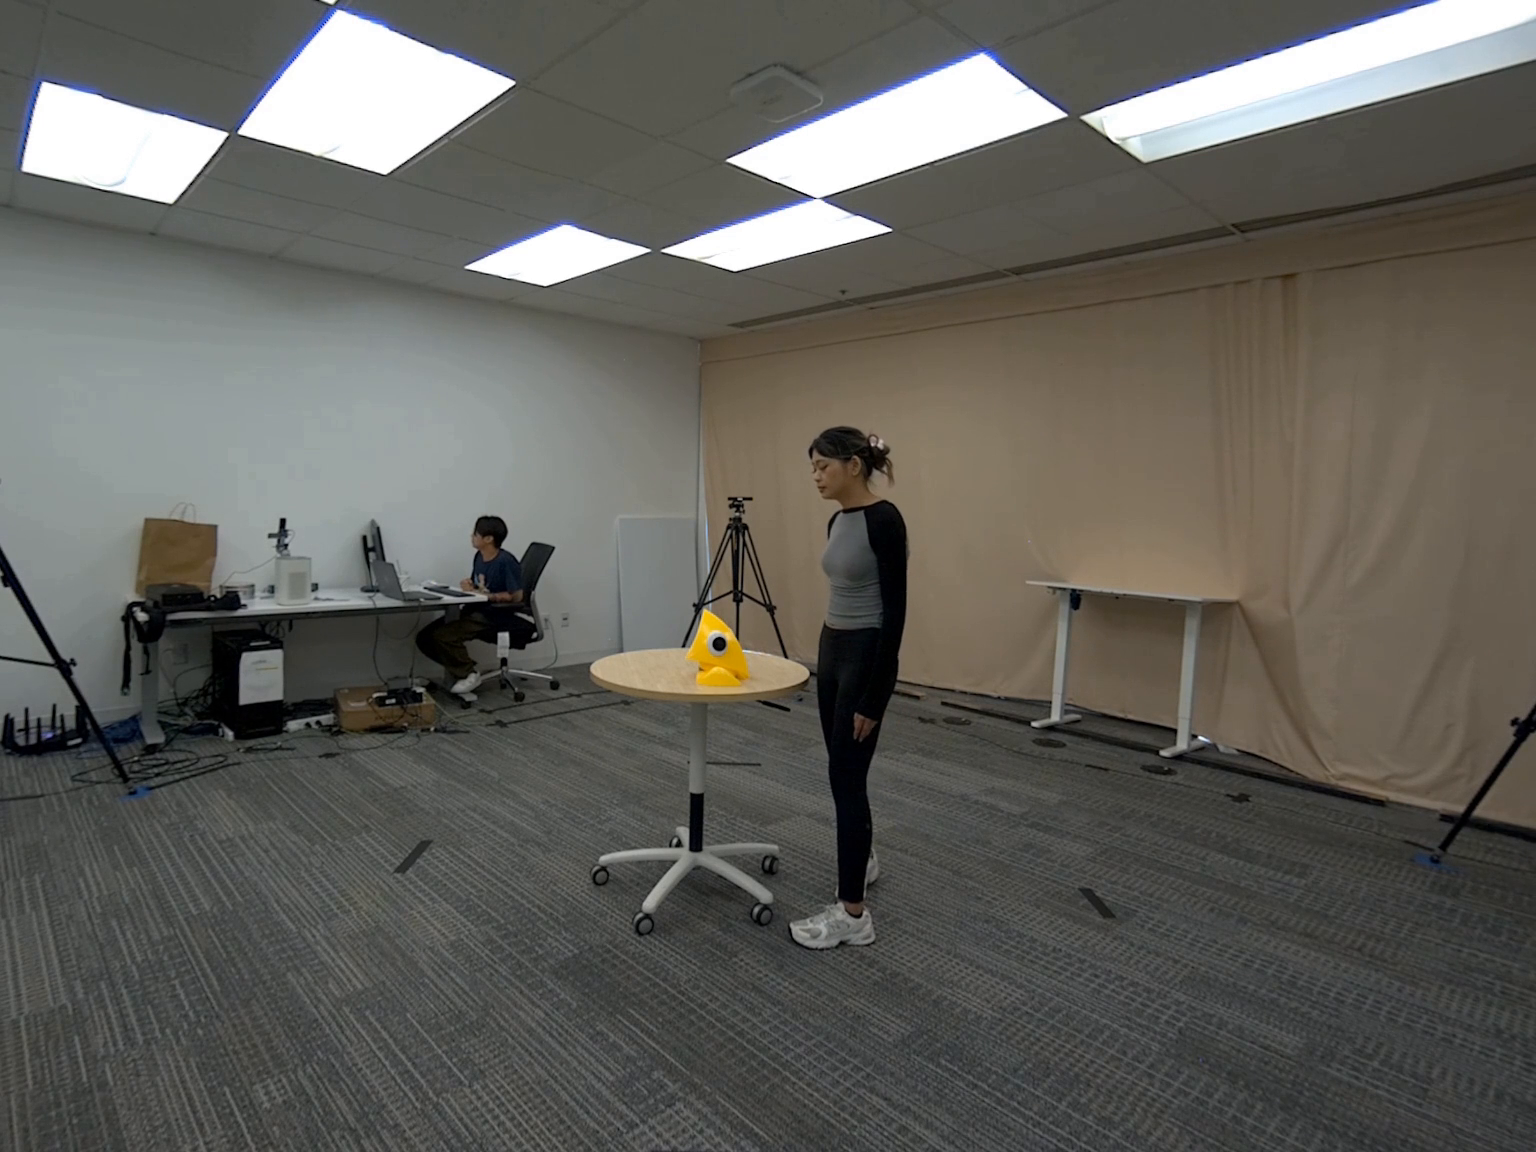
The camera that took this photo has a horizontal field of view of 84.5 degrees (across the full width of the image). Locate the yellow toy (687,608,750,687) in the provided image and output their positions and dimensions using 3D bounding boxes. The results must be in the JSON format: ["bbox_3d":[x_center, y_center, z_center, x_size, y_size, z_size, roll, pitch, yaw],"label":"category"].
[{"bbox_3d":[-0.157,0.227,2.790,0.195,0.230,0.203,1,3,15],"label":"yellow toy"}]
